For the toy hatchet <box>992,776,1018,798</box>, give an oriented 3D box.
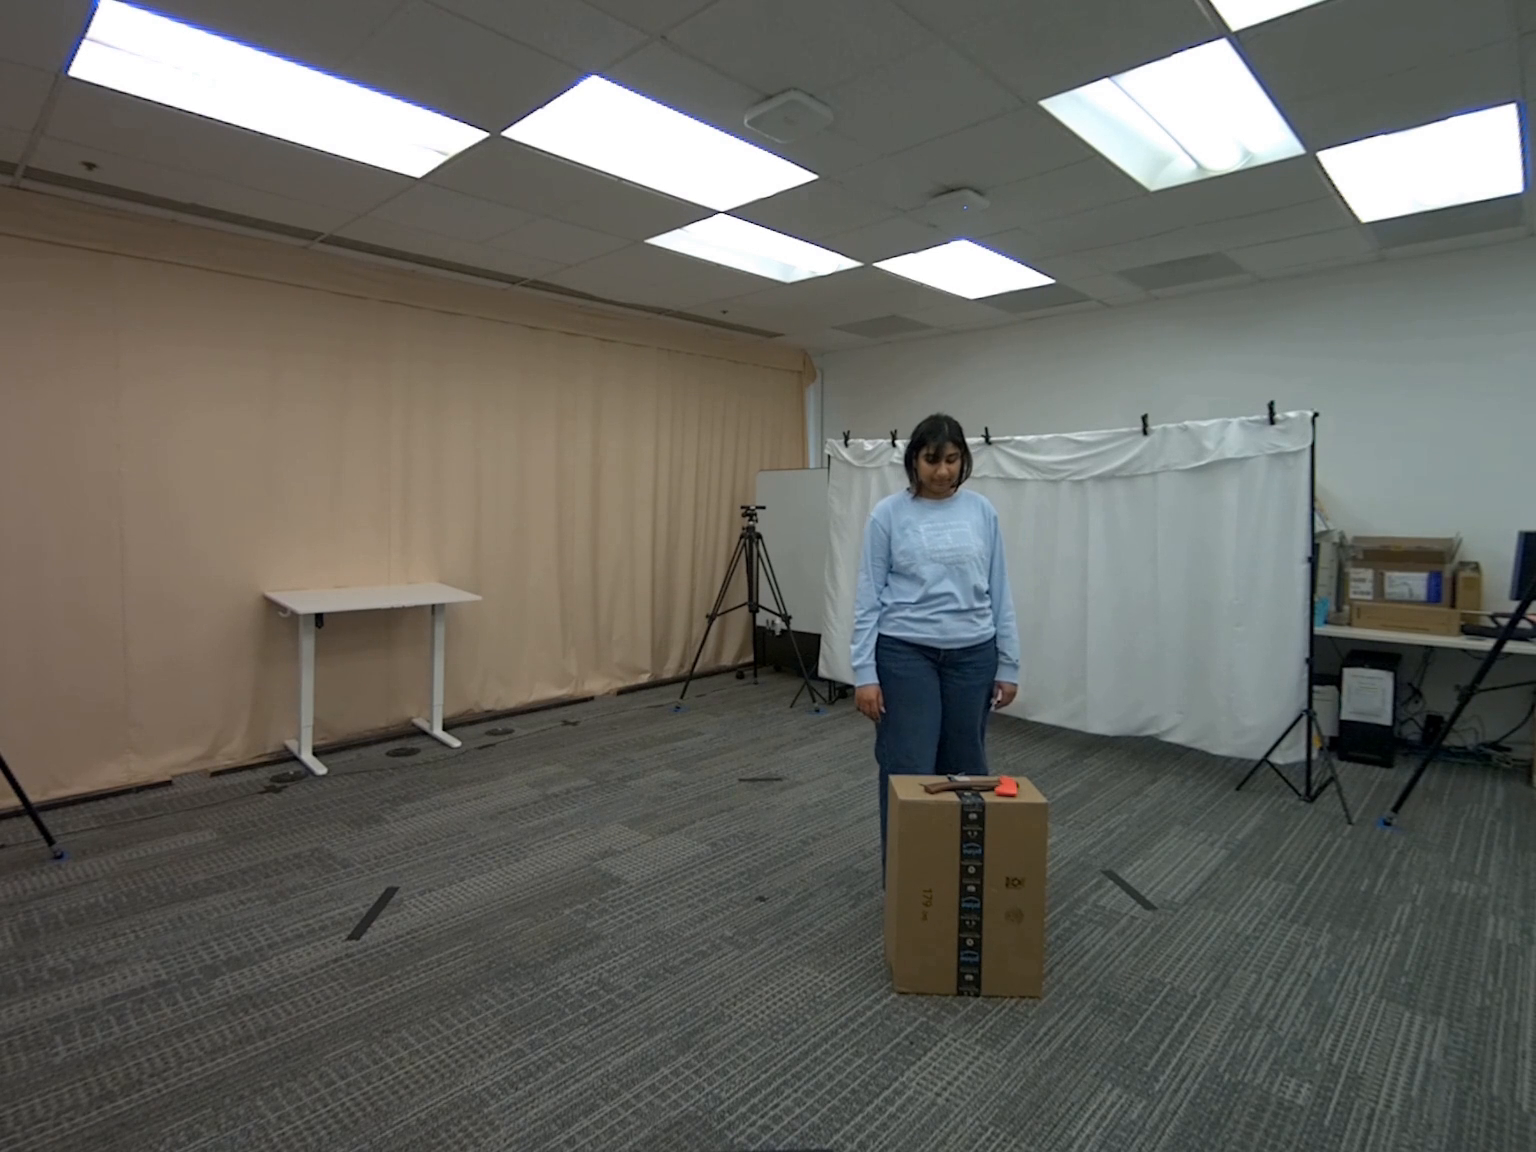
[{"bbox_3d":[0.586,0.612,2.417,0.266,0.029,0.134,-4,11,-16],"label":"toy hatchet"}]
